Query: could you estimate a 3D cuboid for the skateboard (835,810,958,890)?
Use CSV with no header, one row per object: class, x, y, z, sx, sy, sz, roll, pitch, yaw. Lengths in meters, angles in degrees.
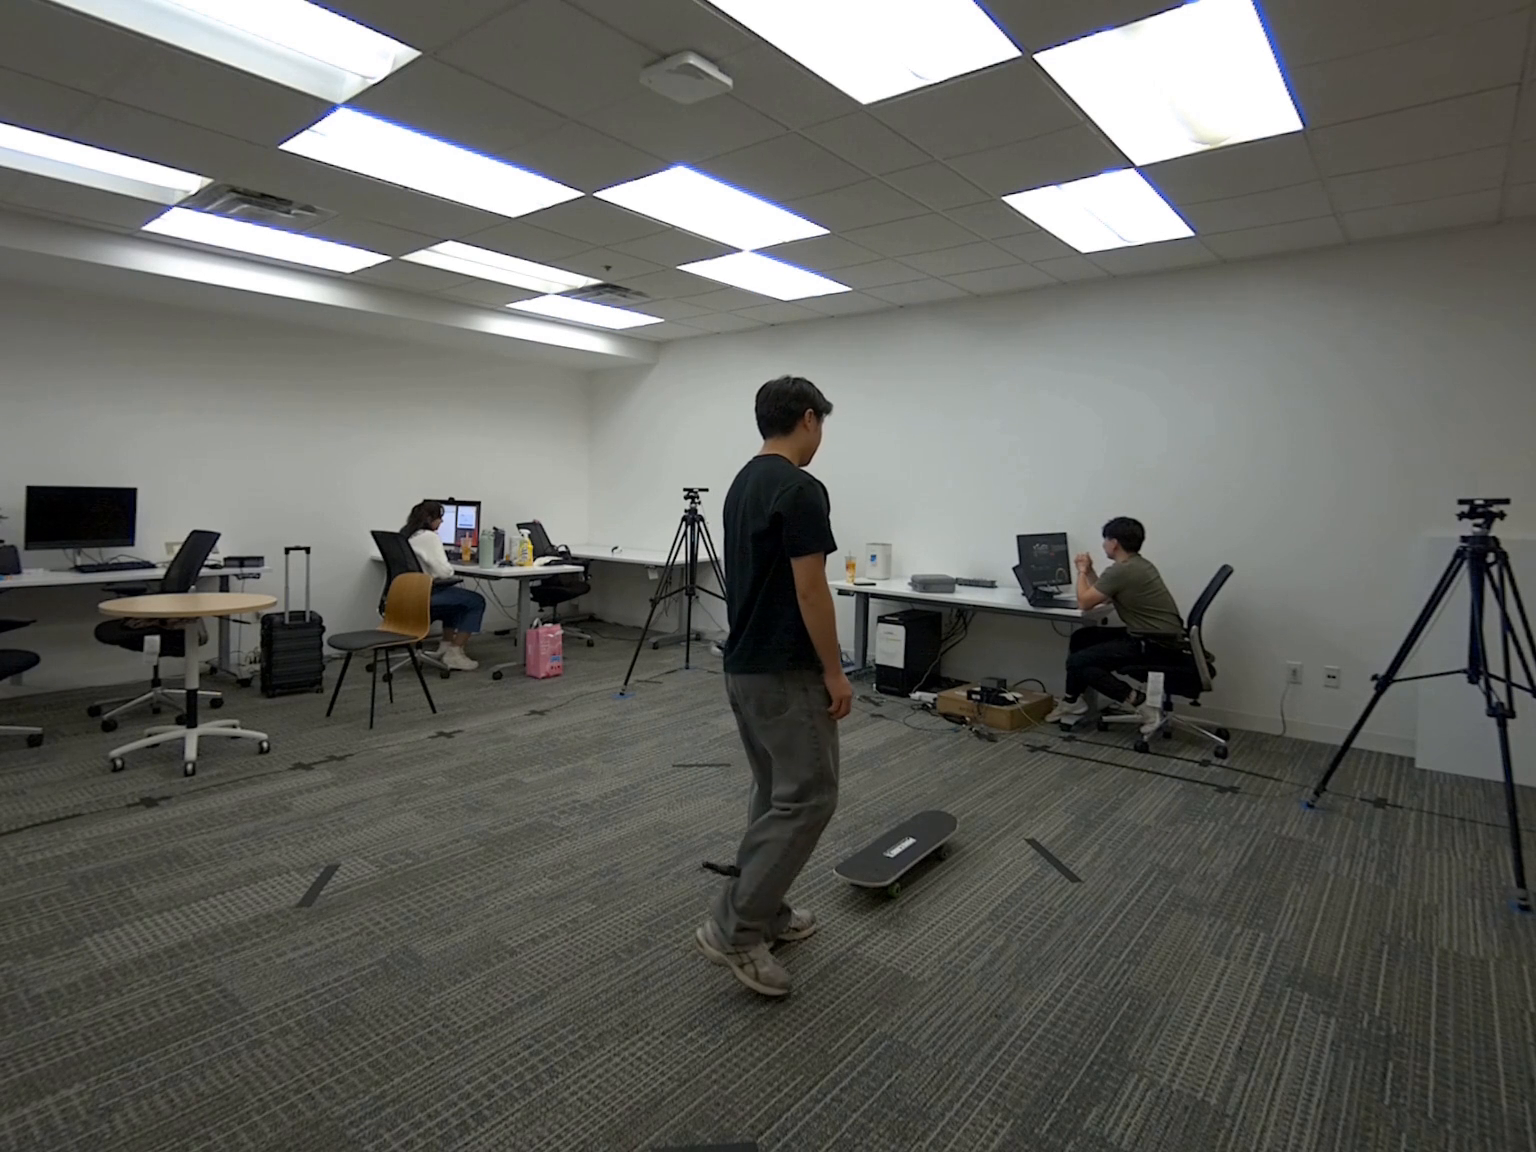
skateboard,0.479,1.026,3.133,0.200,0.110,0.763,5,7,36
